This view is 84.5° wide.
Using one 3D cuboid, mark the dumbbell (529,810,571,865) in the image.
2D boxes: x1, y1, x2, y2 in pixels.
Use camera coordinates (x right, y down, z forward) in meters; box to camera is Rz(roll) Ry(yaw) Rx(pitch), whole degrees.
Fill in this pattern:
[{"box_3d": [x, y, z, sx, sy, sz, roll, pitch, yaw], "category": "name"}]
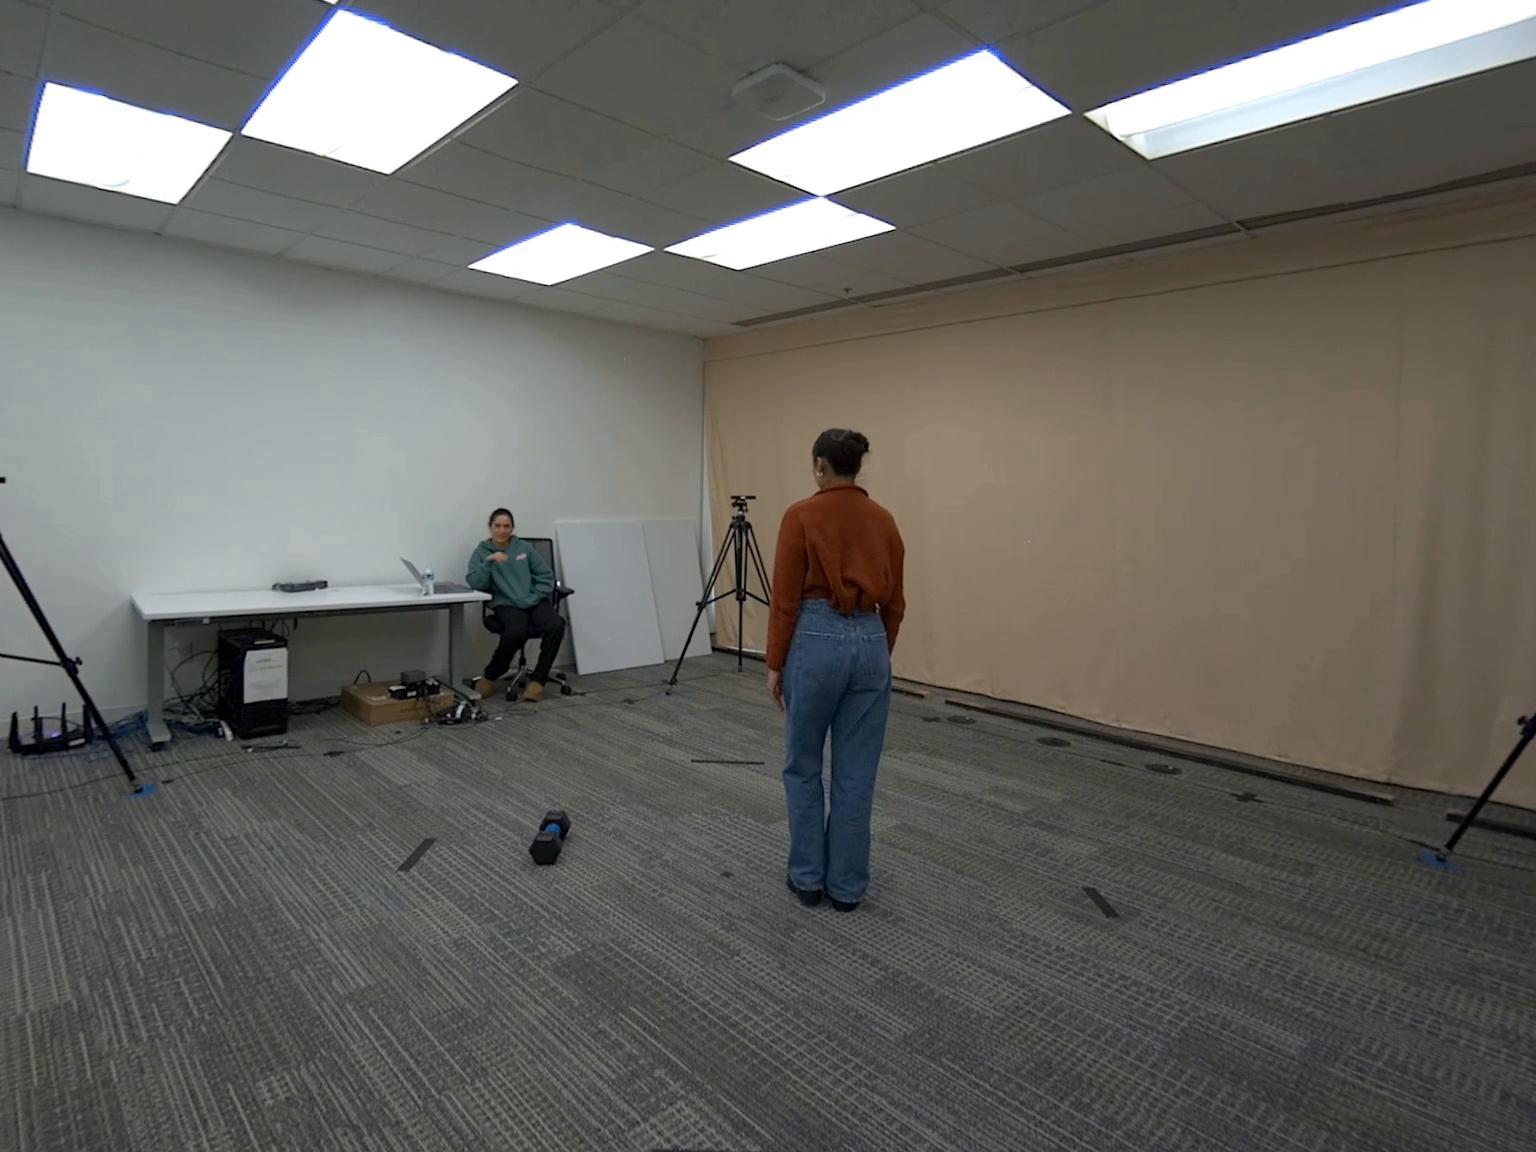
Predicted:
[{"box_3d": [-0.859, 1.019, 3.286, 0.108, 0.123, 0.294, 31, 4, -4], "category": "dumbbell"}]
